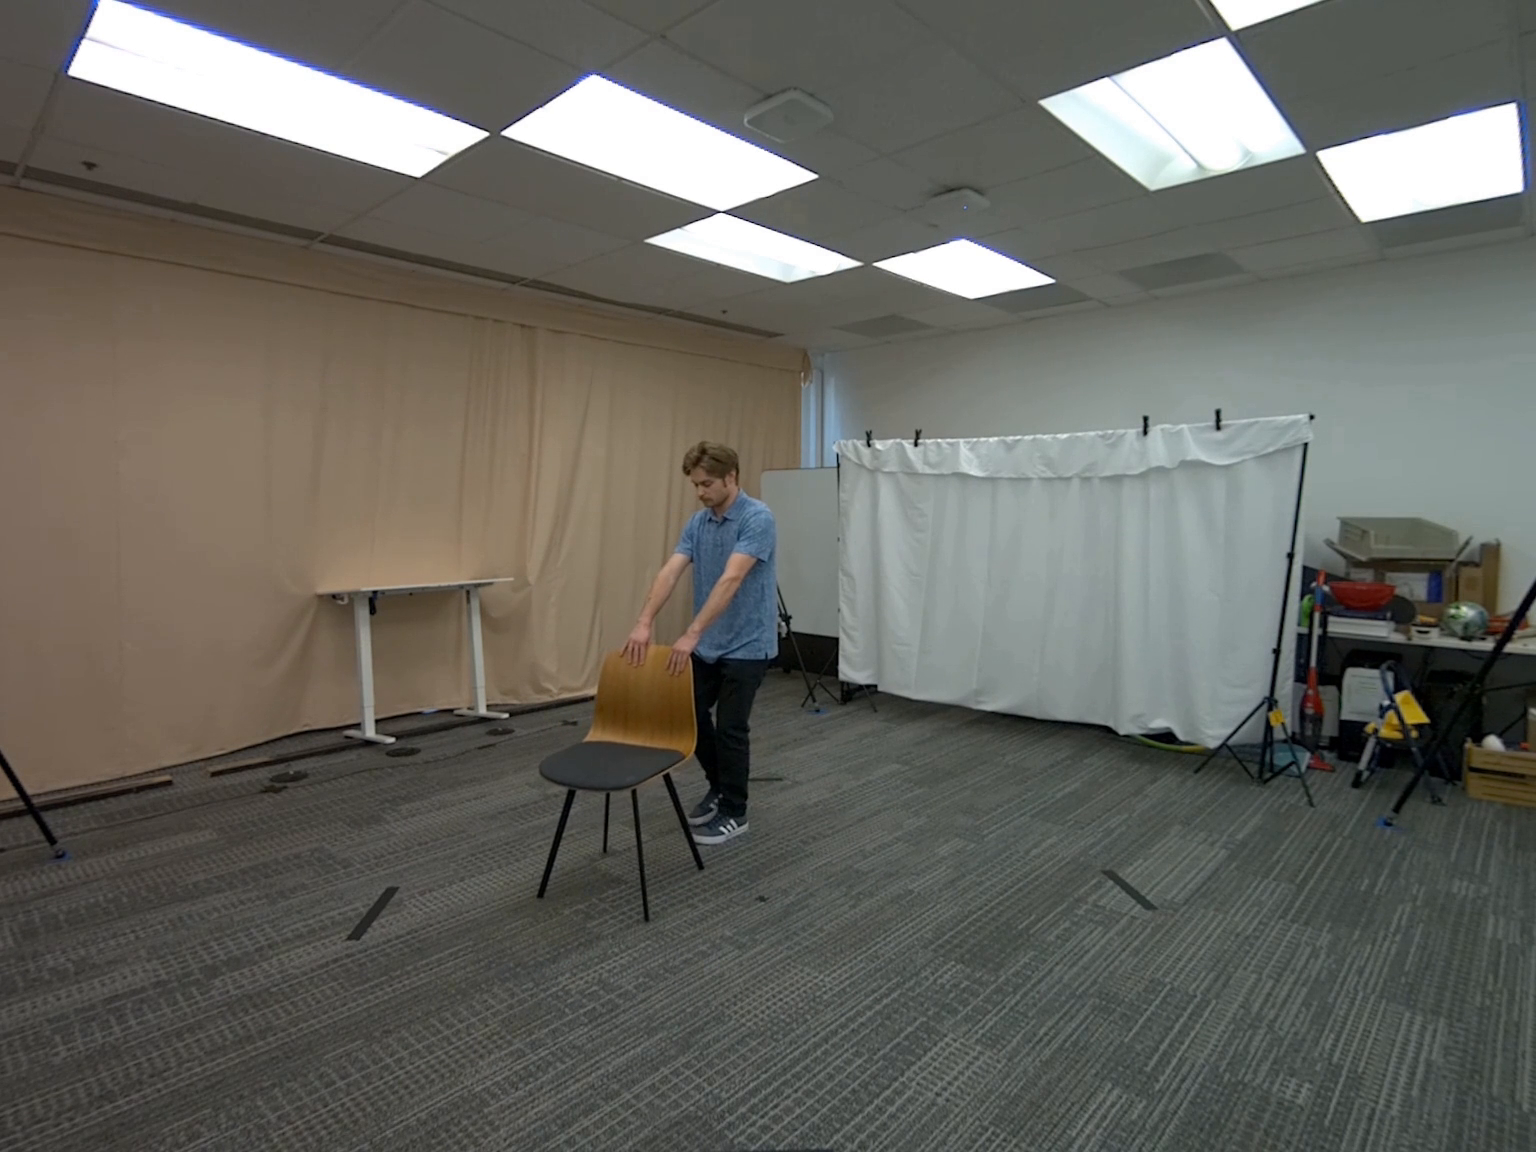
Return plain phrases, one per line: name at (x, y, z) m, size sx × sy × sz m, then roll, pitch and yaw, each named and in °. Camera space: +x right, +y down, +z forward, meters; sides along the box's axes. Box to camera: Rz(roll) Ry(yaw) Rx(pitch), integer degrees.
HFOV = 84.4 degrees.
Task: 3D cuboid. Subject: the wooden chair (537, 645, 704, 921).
wooden chair at (-0.527, 0.712, 3.080) m, size 0.489 × 0.877 × 0.511 m, roll 1°, pitch 0°, yaw 22°
